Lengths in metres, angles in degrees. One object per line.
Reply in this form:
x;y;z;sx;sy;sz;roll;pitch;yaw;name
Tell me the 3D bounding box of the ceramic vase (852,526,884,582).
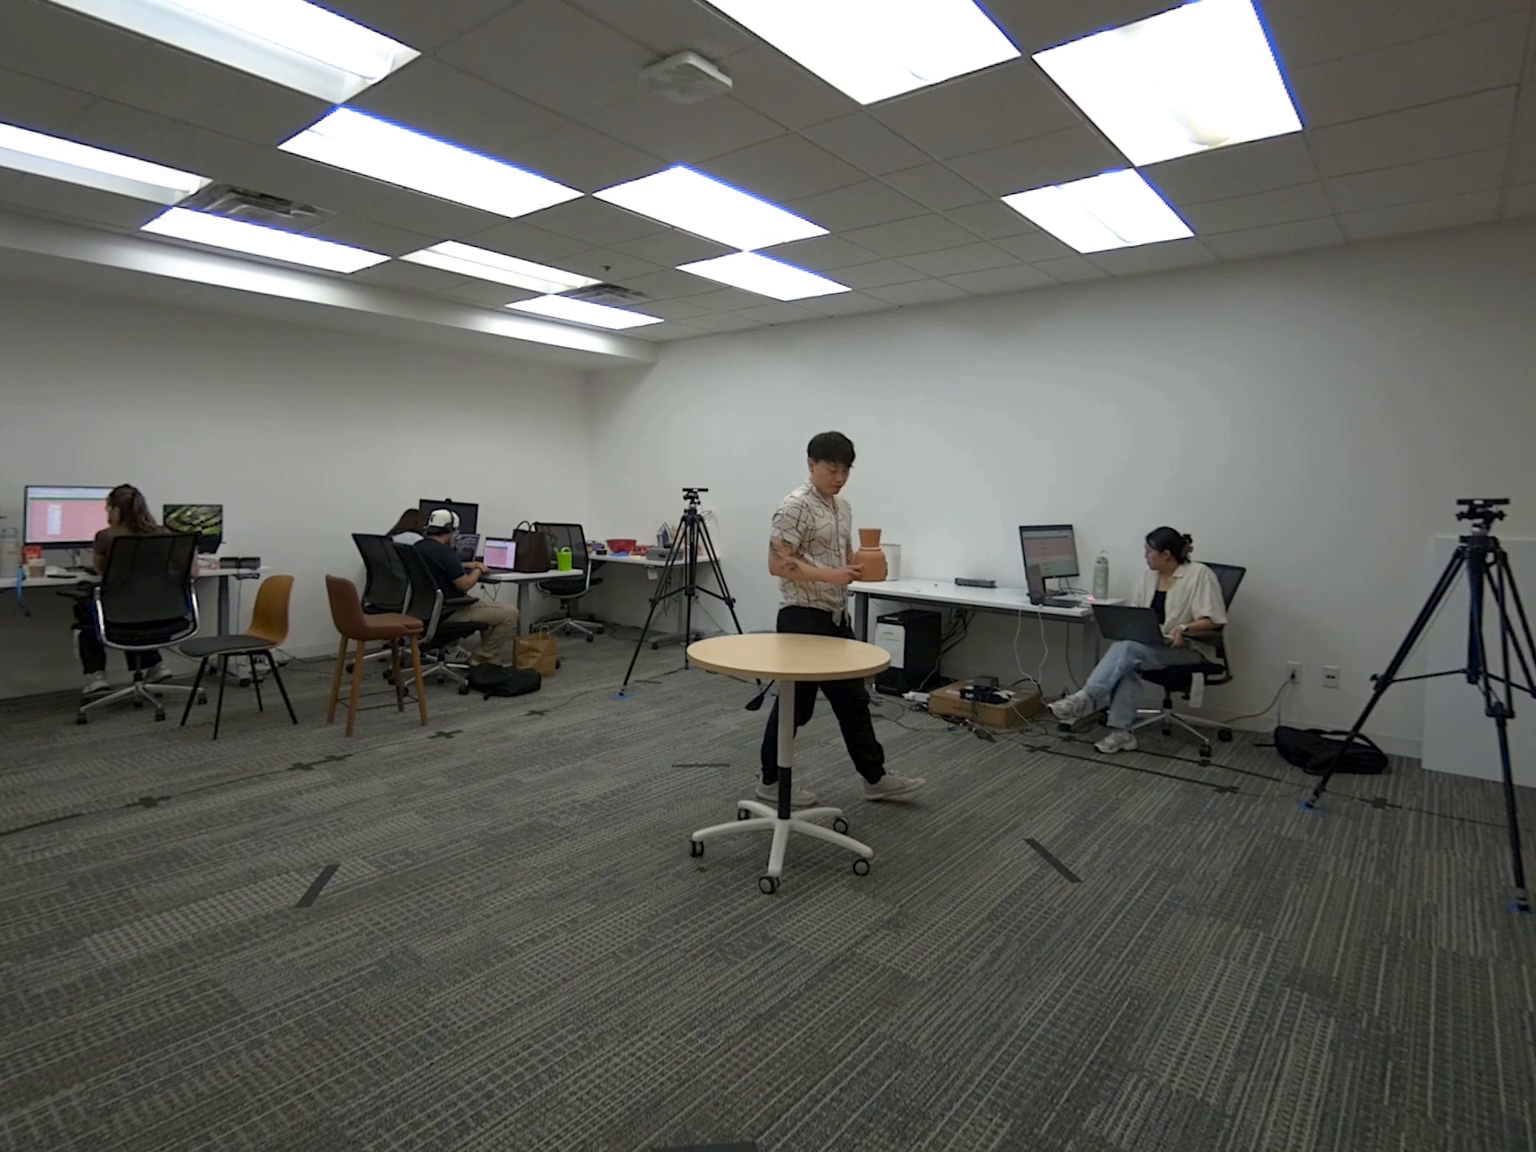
0.418;-0.097;3.599;0.136;0.219;0.158;2;4;7;ceramic vase
